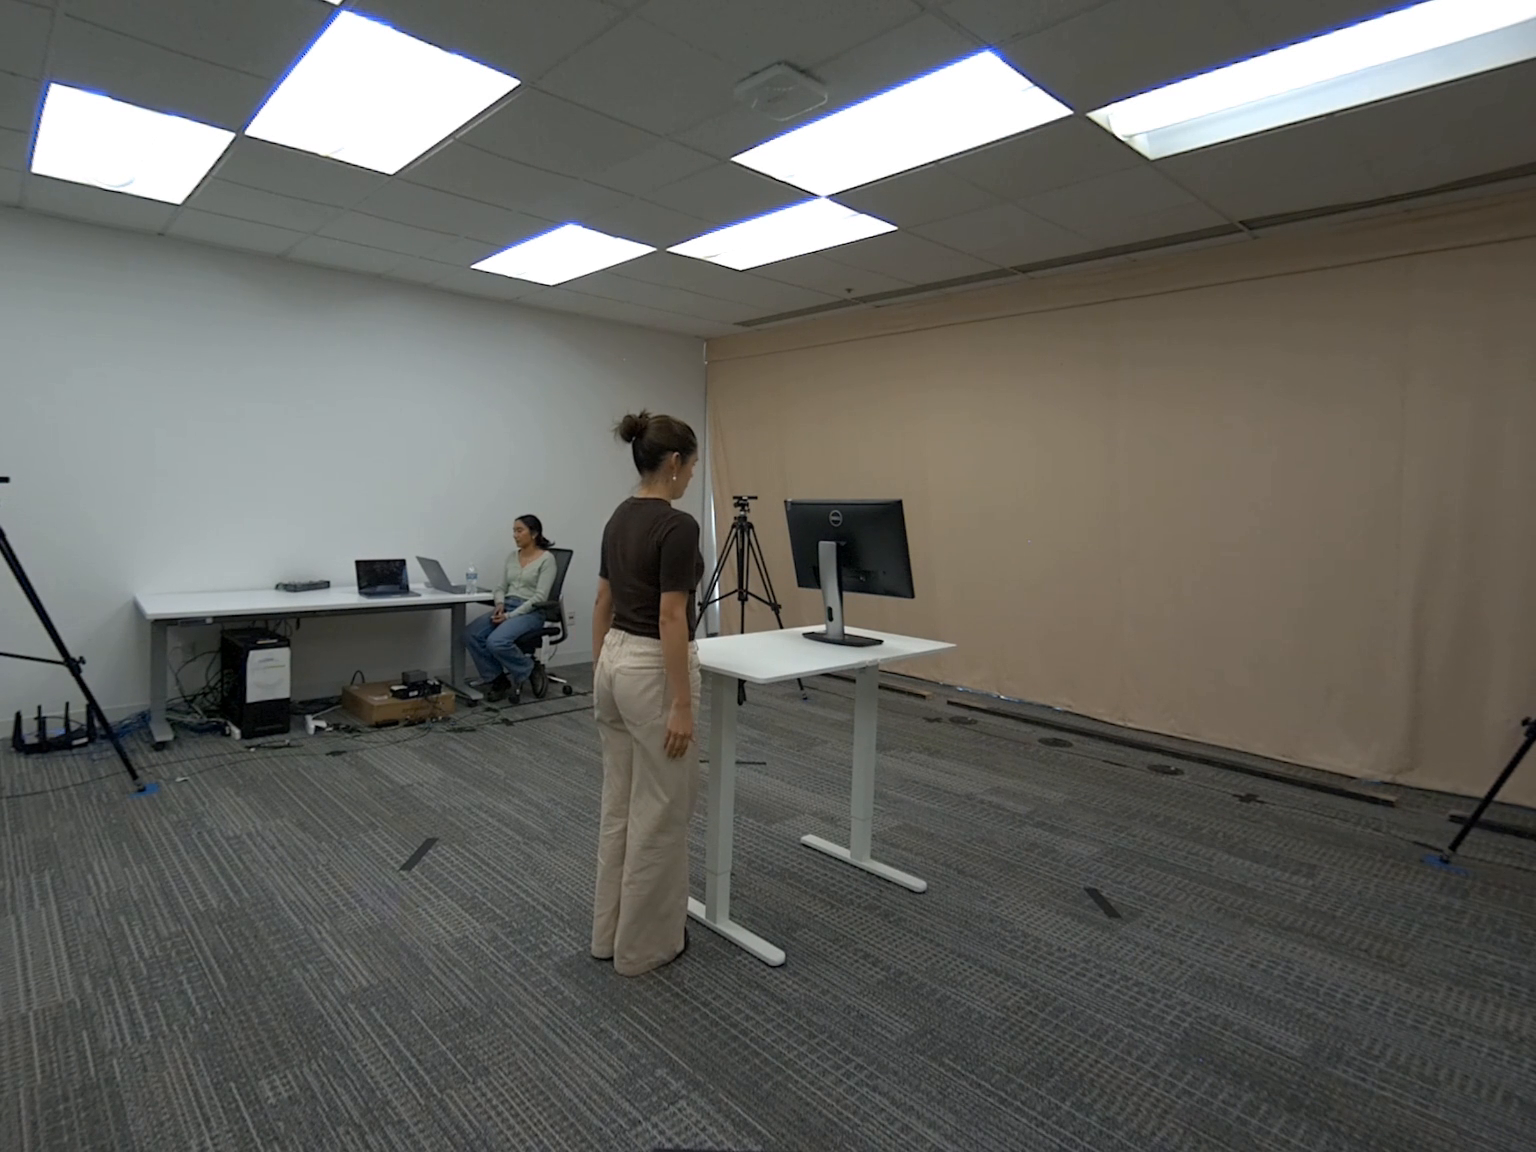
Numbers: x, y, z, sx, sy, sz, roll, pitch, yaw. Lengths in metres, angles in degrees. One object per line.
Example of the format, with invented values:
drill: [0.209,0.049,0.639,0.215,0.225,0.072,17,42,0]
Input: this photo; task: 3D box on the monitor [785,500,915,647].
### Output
monitor: [0.264,-0.019,3.043,0.543,0.516,0.170,3,1,44]
